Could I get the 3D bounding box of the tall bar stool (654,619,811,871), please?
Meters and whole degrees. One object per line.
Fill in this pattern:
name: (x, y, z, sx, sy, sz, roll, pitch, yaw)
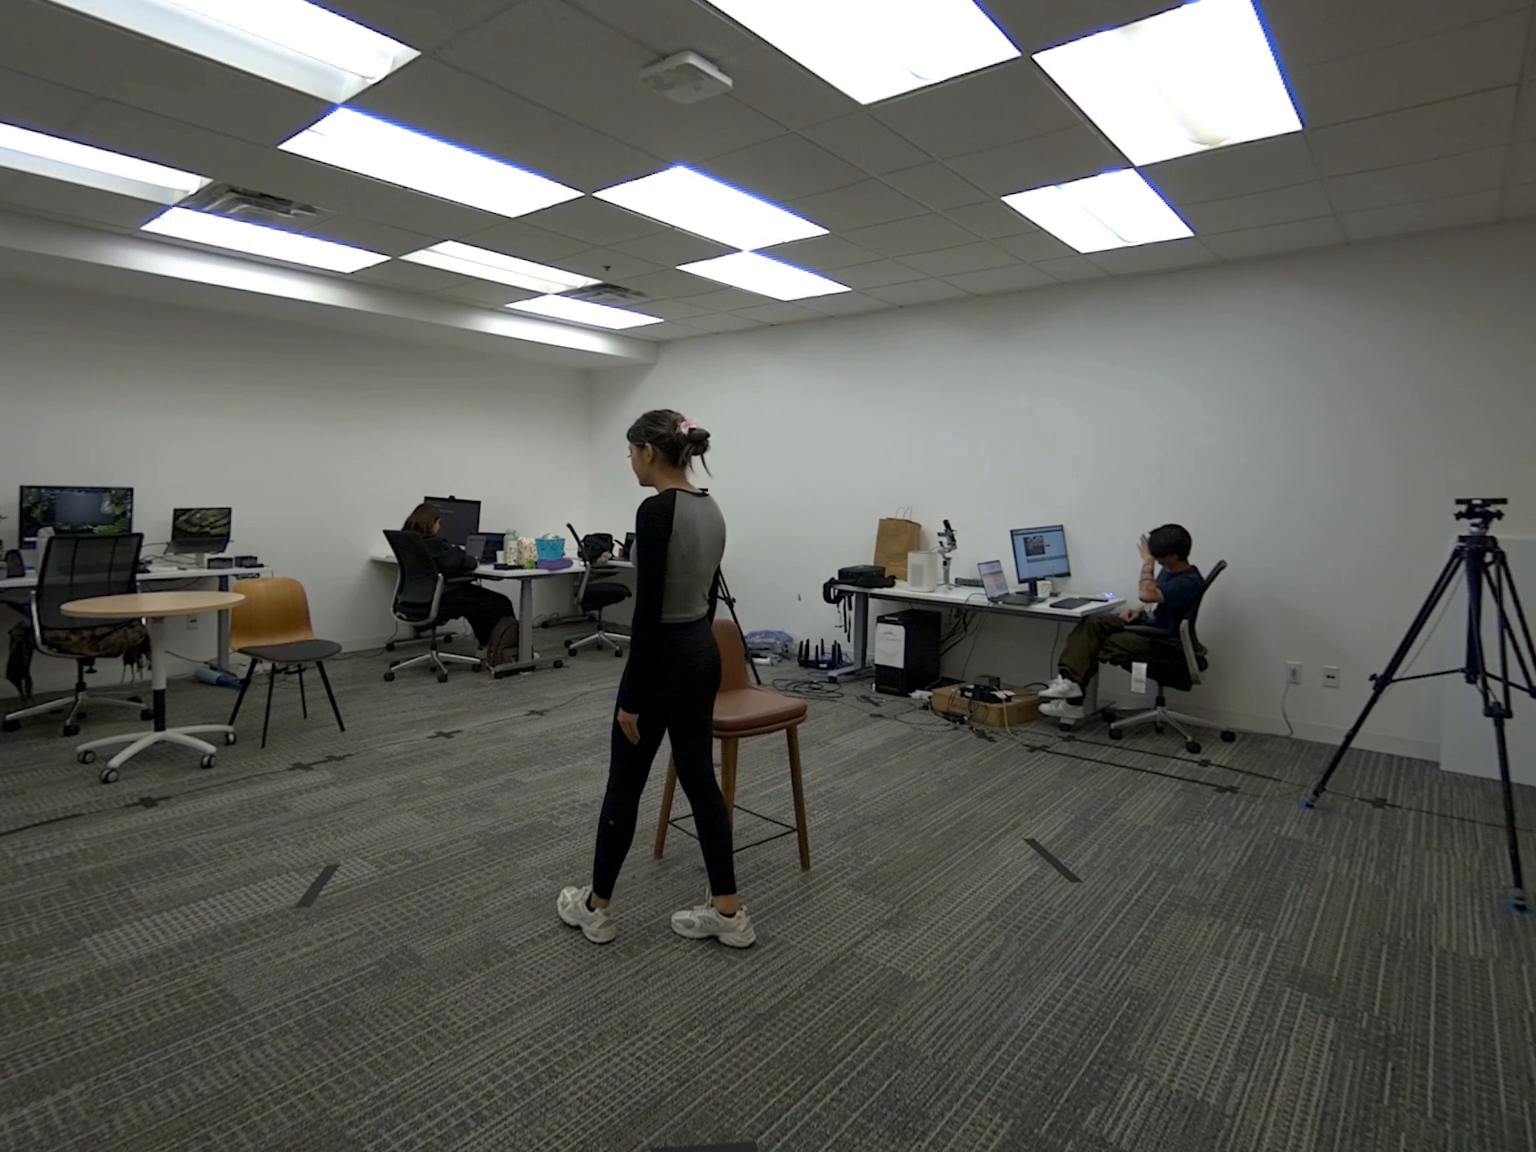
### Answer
tall bar stool: (-0.144, 0.630, 3.150, 0.442, 0.889, 0.483, -1, 1, -42)
